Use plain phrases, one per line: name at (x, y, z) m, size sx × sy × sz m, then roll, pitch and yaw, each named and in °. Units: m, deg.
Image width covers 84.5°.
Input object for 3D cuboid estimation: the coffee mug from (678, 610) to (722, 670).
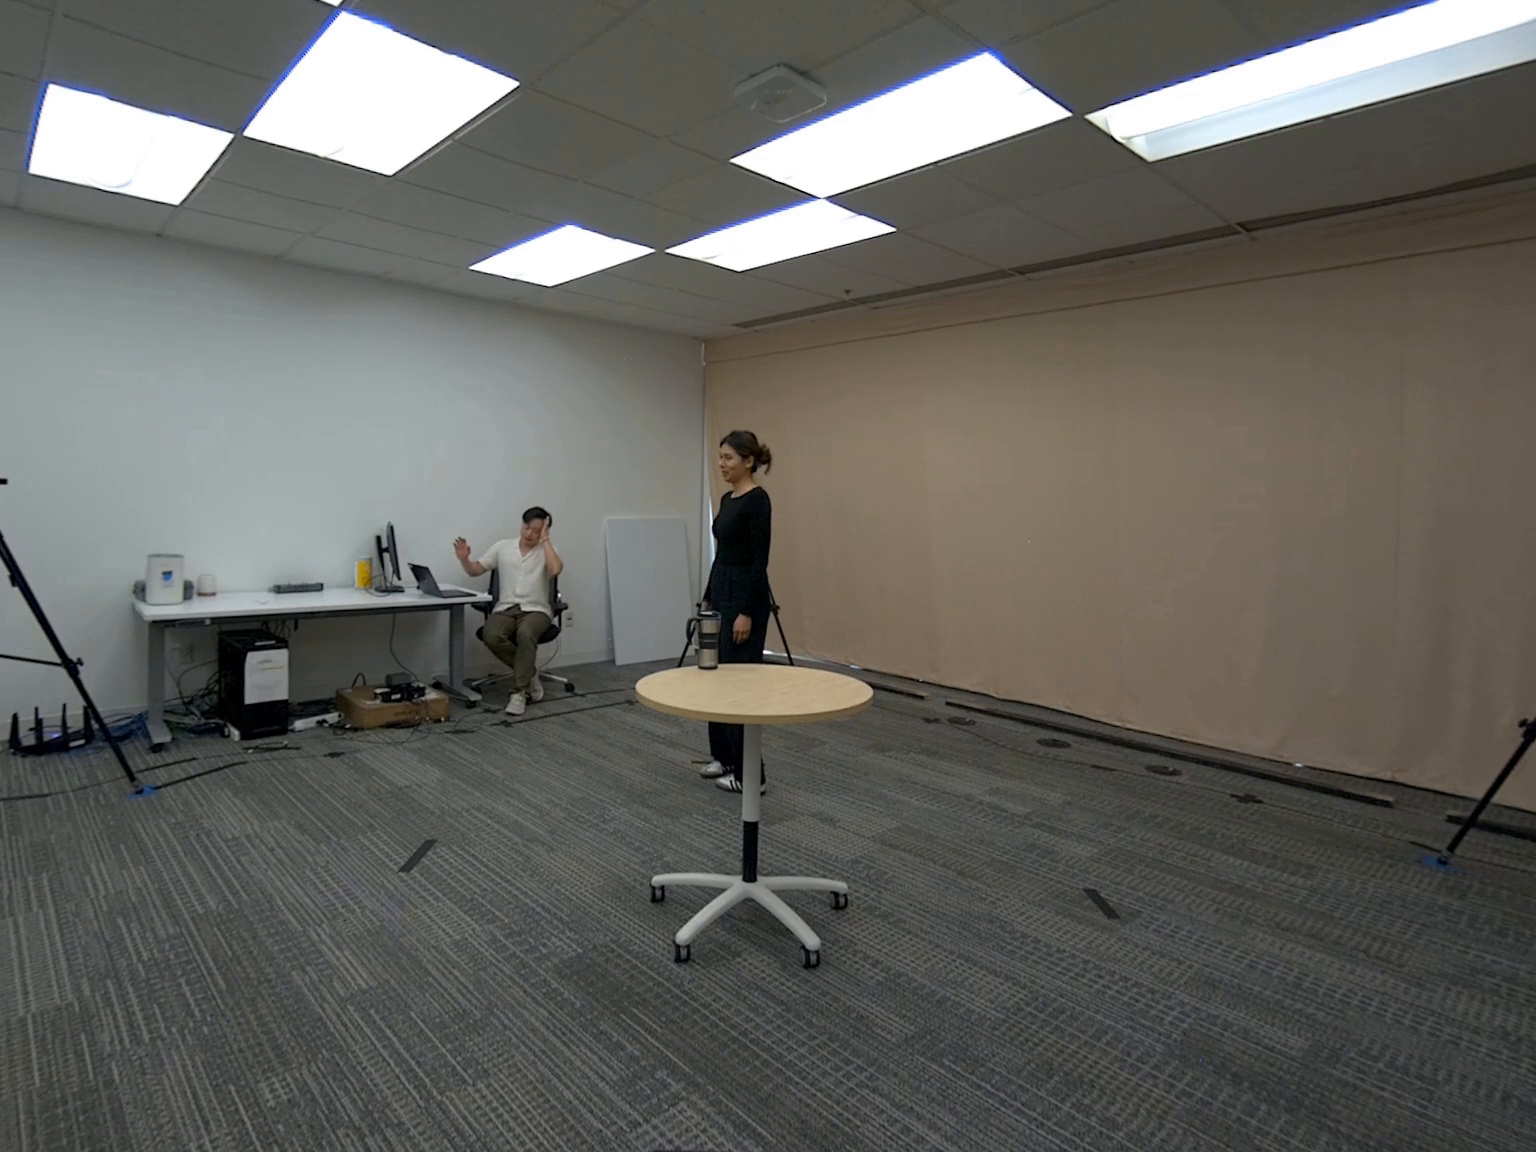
coffee mug at (-0.243, 0.231, 3.039) m, size 0.125 × 0.202 × 0.086 m, roll 12°, pitch 12°, yaw 43°
